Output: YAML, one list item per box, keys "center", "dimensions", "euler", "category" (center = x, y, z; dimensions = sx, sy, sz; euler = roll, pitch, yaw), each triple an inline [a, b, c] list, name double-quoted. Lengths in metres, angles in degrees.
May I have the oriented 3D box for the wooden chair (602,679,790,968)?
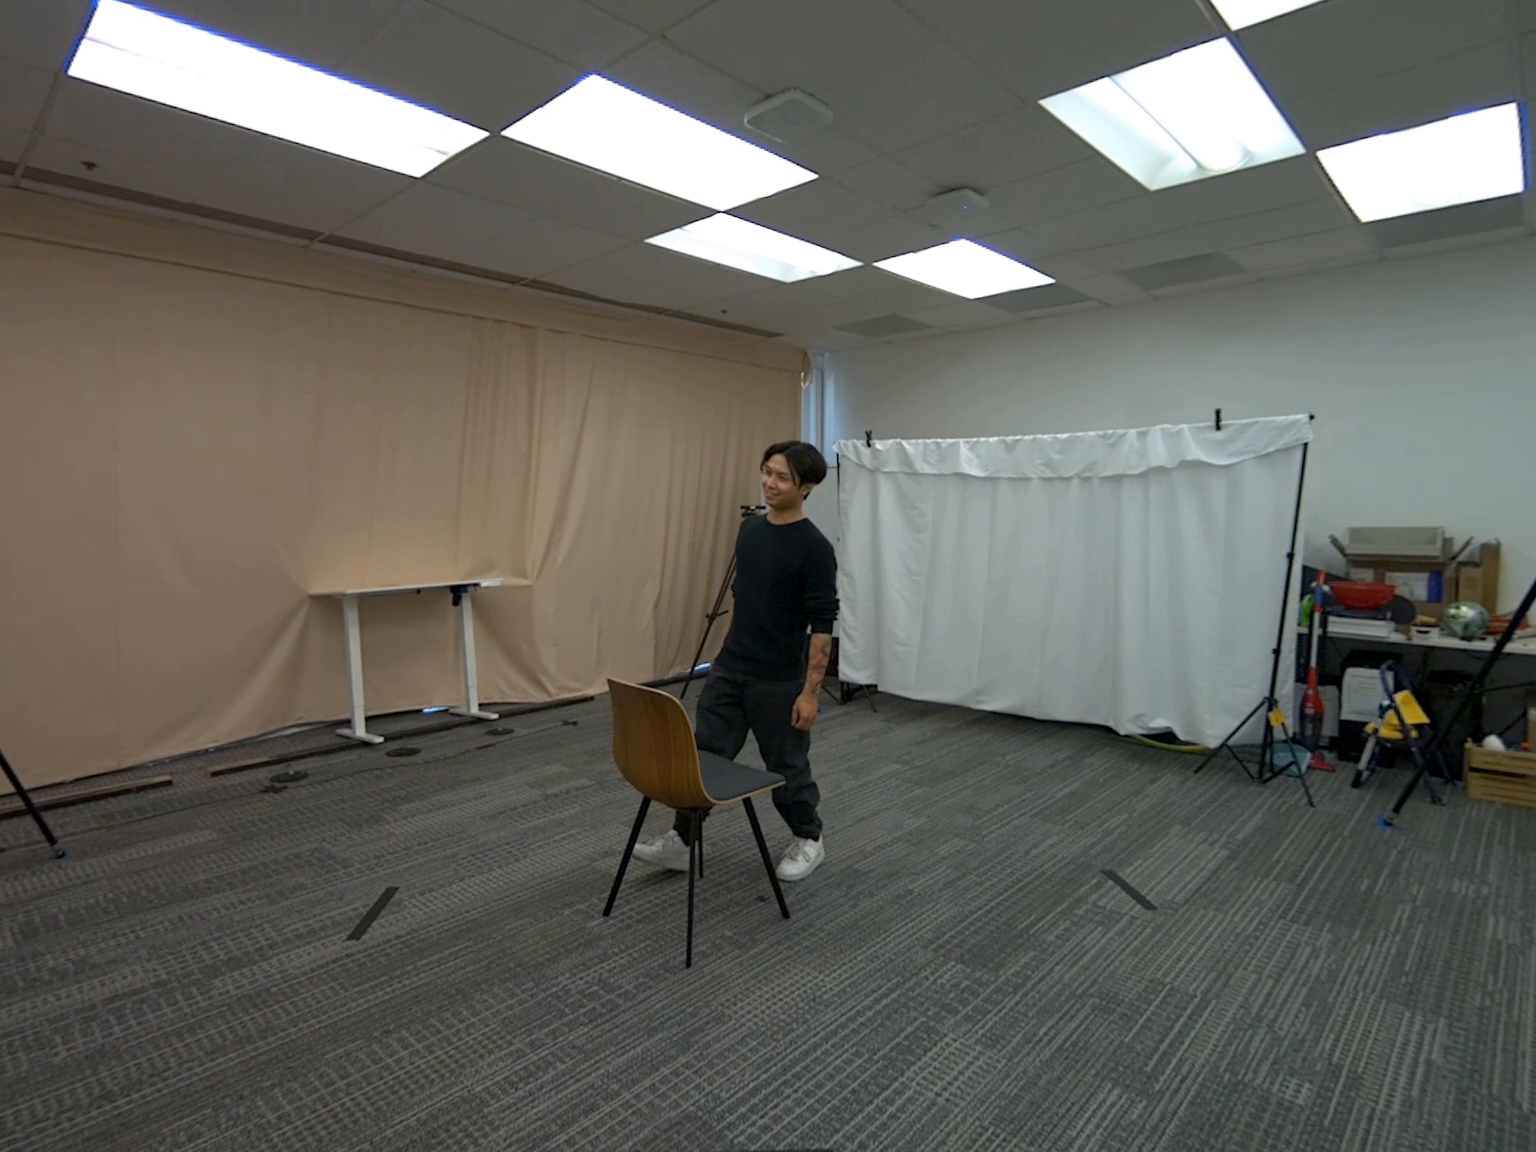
- center: [-0.239, 0.729, 2.824]
  dimensions: [0.508, 0.874, 0.494]
  euler: [-9, 7, -44]
  category: "wooden chair"
